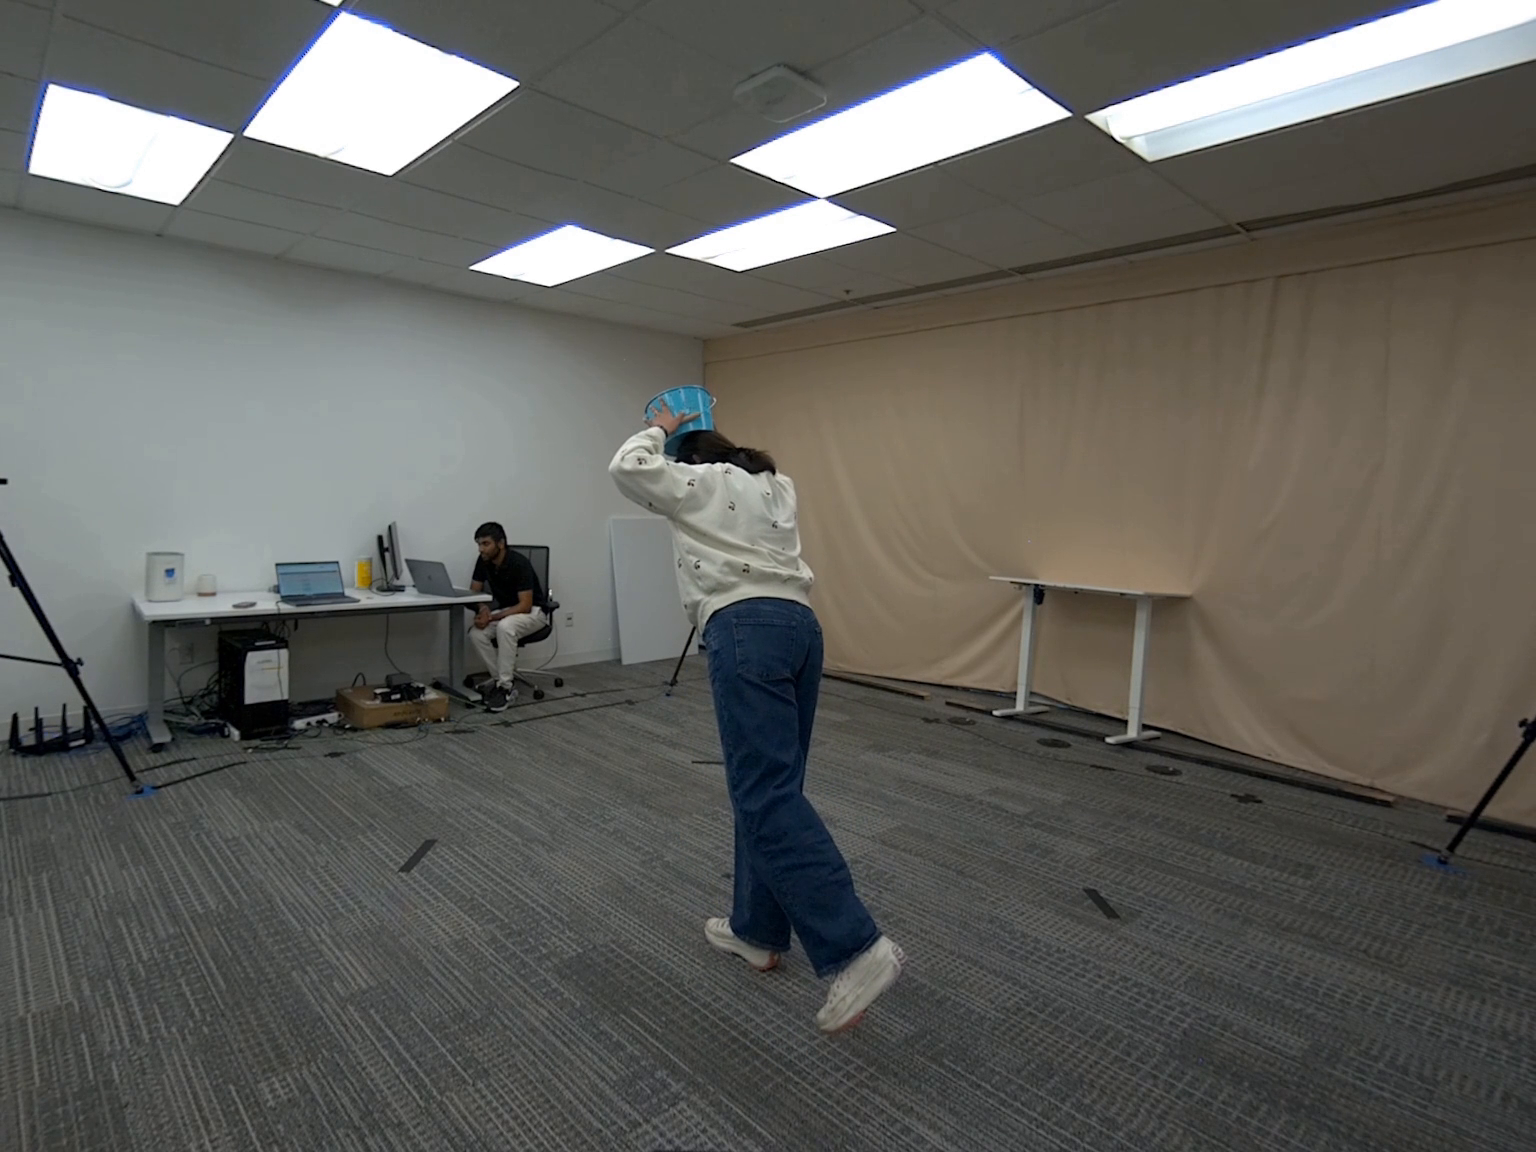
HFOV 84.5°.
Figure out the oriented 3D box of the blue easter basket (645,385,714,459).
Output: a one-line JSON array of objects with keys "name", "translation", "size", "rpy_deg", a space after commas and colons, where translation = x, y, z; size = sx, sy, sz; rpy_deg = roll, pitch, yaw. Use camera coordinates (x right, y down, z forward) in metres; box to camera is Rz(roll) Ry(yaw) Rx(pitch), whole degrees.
[{"name": "blue easter basket", "translation": [-0.298, -0.511, 2.824], "size": [0.243, 0.158, 0.240], "rpy_deg": [-13, -19, -6]}]
